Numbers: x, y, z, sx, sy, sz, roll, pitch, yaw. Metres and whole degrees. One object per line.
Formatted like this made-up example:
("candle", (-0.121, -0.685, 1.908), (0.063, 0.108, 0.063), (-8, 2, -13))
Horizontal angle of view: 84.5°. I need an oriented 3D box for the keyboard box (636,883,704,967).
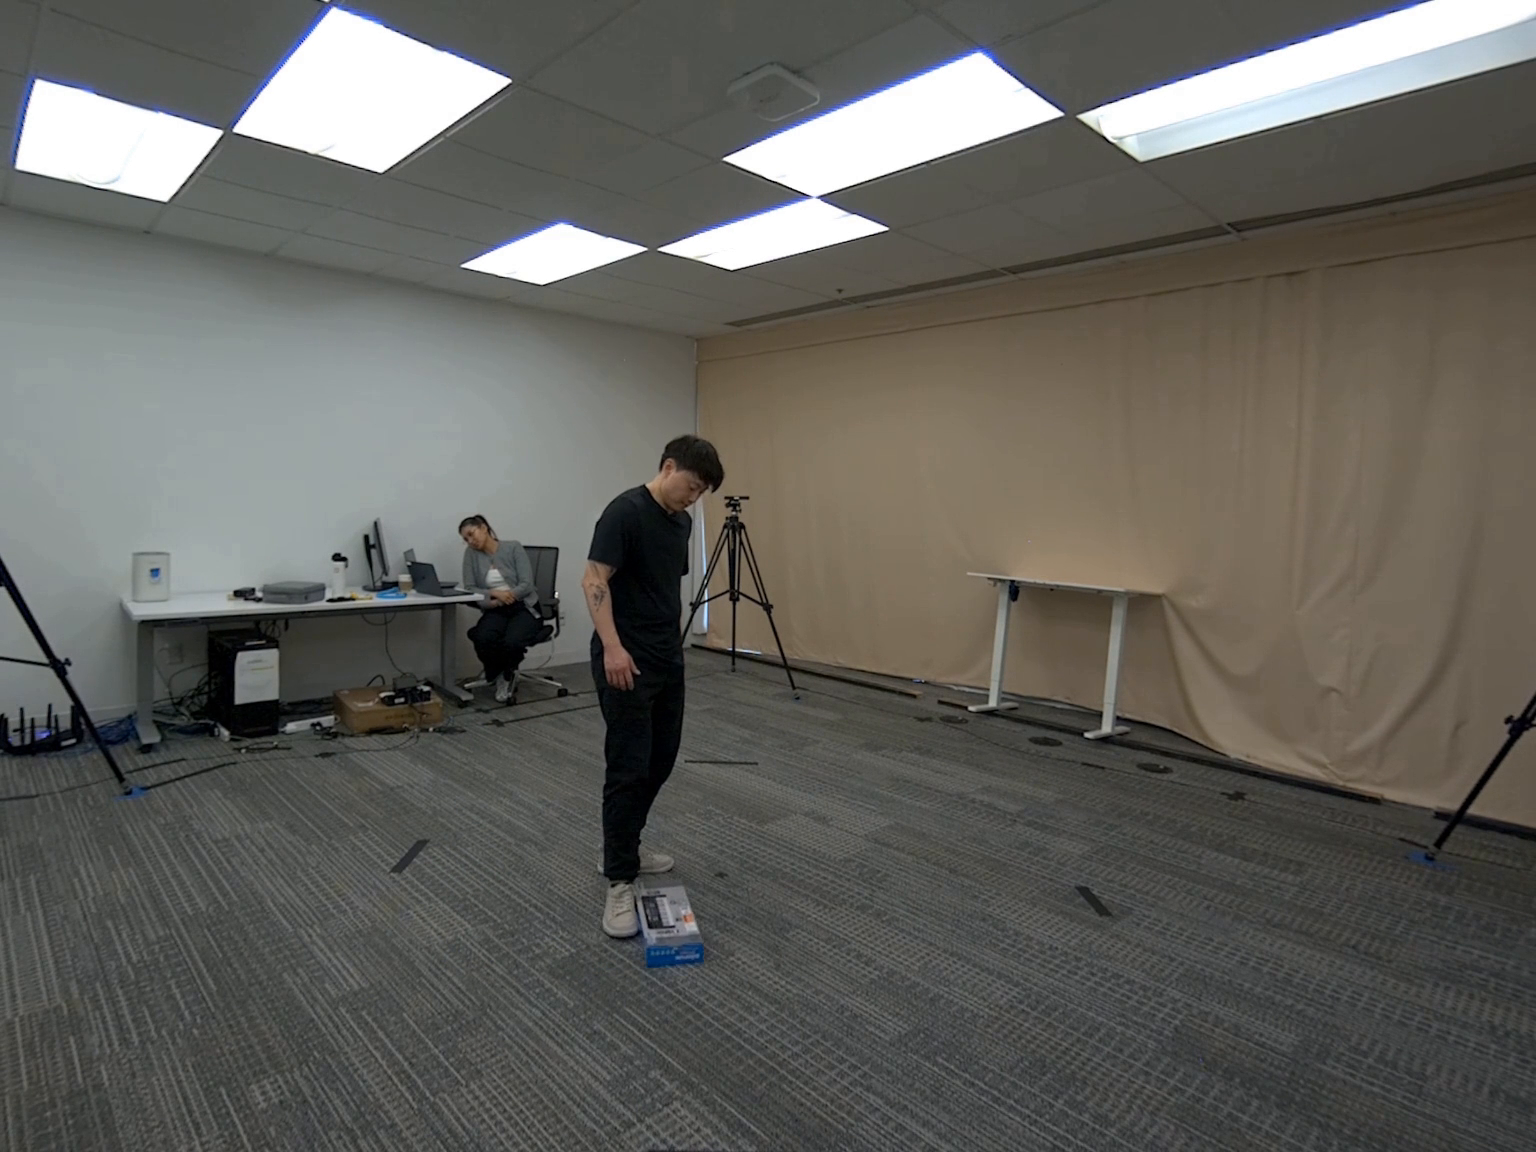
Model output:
("keyboard box", (-0.332, 1.105, 2.708), (0.174, 0.059, 0.443), (0, 5, -15))
